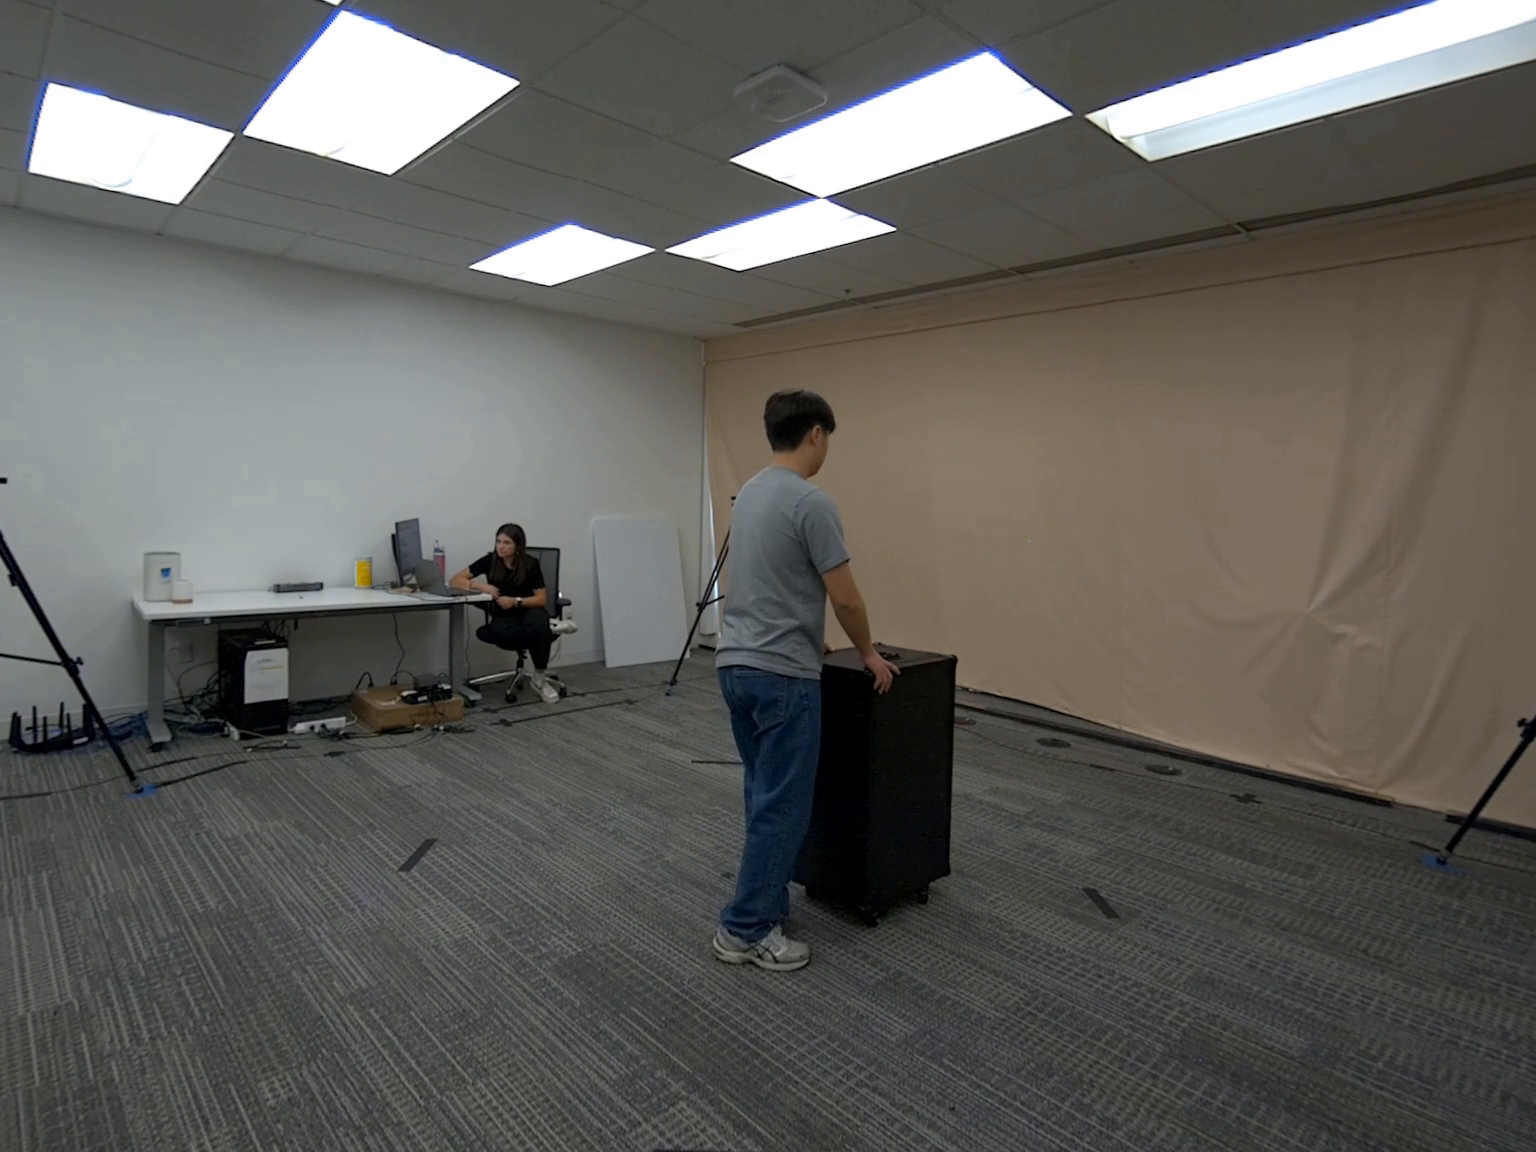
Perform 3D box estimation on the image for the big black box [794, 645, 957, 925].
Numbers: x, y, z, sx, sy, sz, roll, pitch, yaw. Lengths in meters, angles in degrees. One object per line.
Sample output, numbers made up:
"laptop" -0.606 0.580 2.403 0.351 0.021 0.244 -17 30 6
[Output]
"big black box" 0.352 0.708 2.957 0.509 0.860 0.406 -2 4 -44
